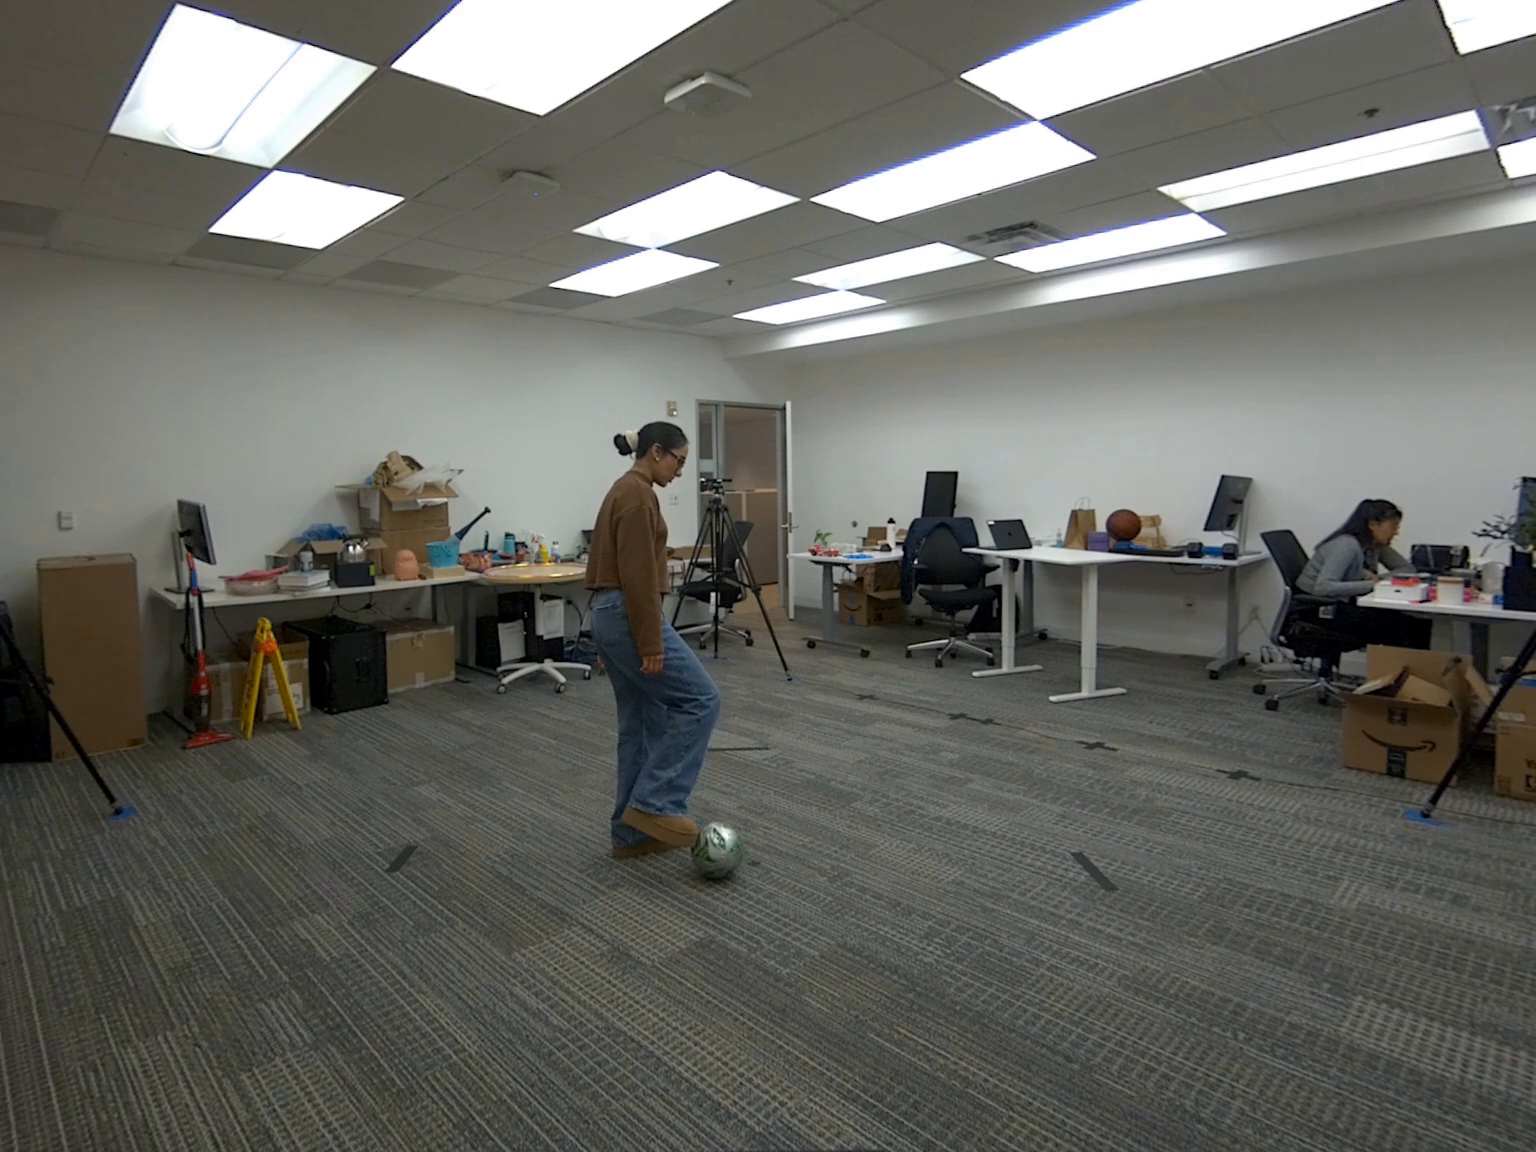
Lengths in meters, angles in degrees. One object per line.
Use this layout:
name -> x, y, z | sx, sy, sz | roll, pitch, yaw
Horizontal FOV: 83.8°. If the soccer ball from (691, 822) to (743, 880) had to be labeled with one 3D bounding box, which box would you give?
soccer ball -> -0.163, 0.964, 3.009 | 0.187, 0.187, 0.188 | -1, 5, -2
